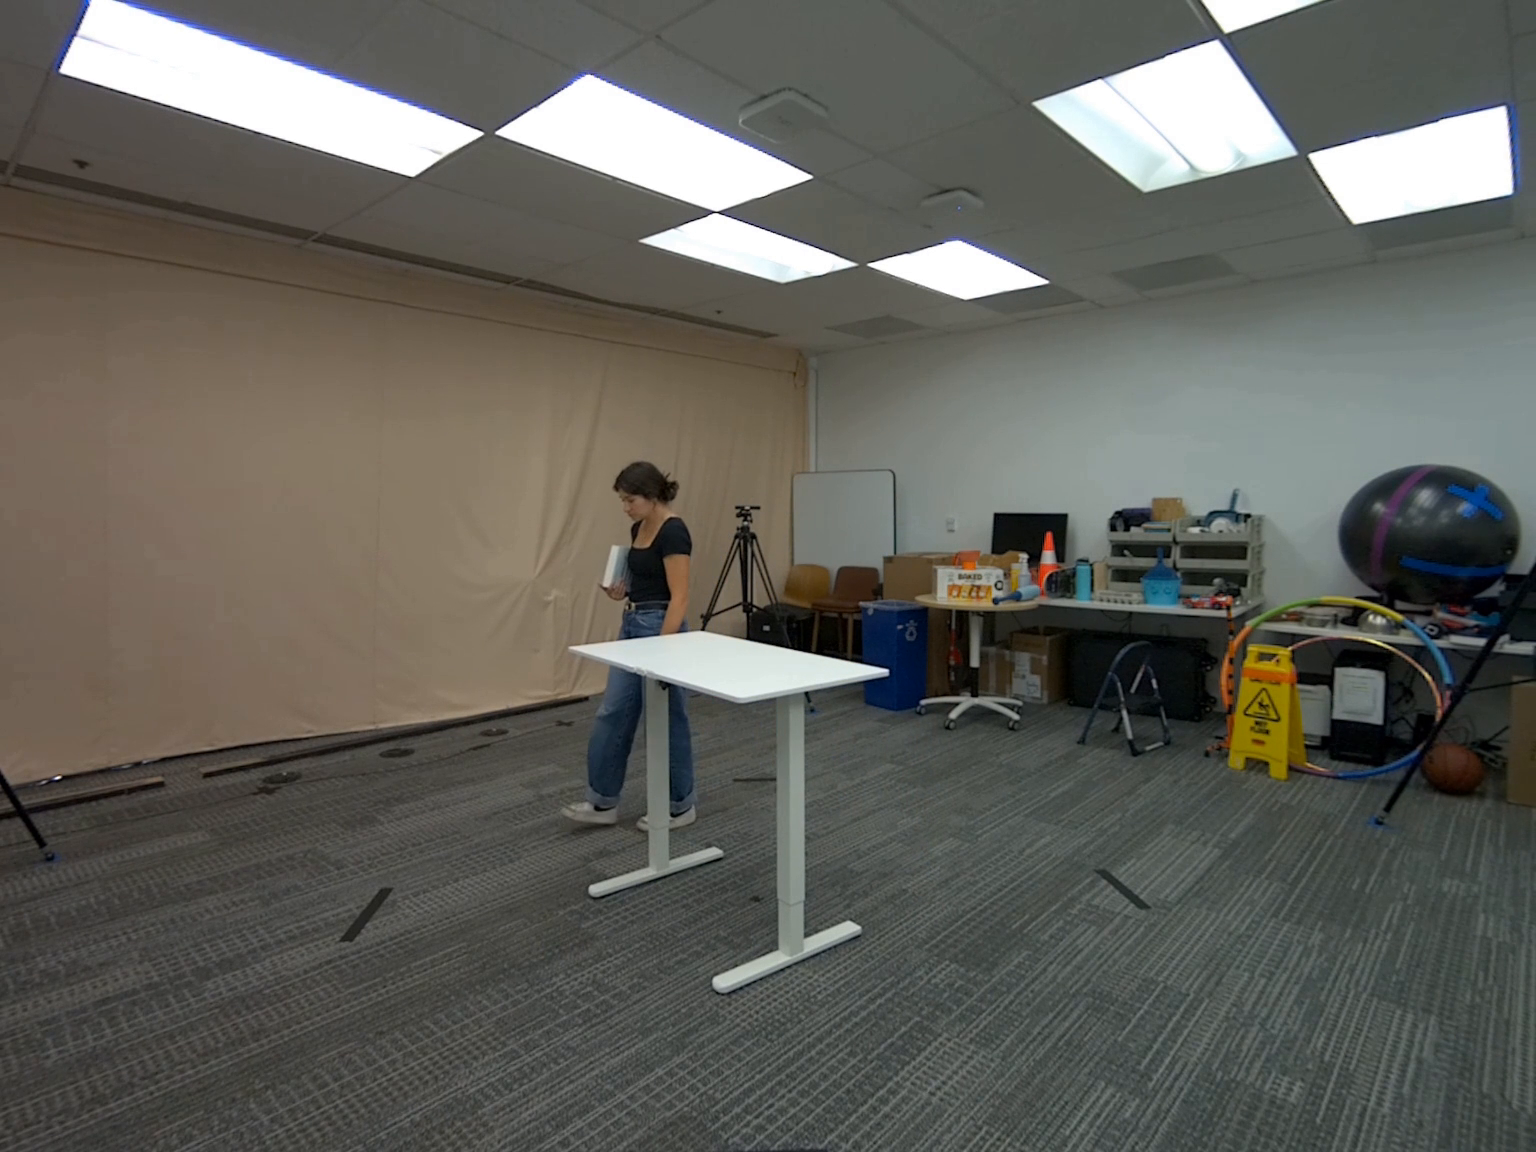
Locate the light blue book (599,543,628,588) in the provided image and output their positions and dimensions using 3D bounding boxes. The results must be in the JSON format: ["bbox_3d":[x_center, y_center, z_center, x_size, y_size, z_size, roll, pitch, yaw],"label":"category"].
[{"bbox_3d":[-0.596,-0.018,3.722,0.061,0.191,0.251,13,-4,44],"label":"light blue book"}]
